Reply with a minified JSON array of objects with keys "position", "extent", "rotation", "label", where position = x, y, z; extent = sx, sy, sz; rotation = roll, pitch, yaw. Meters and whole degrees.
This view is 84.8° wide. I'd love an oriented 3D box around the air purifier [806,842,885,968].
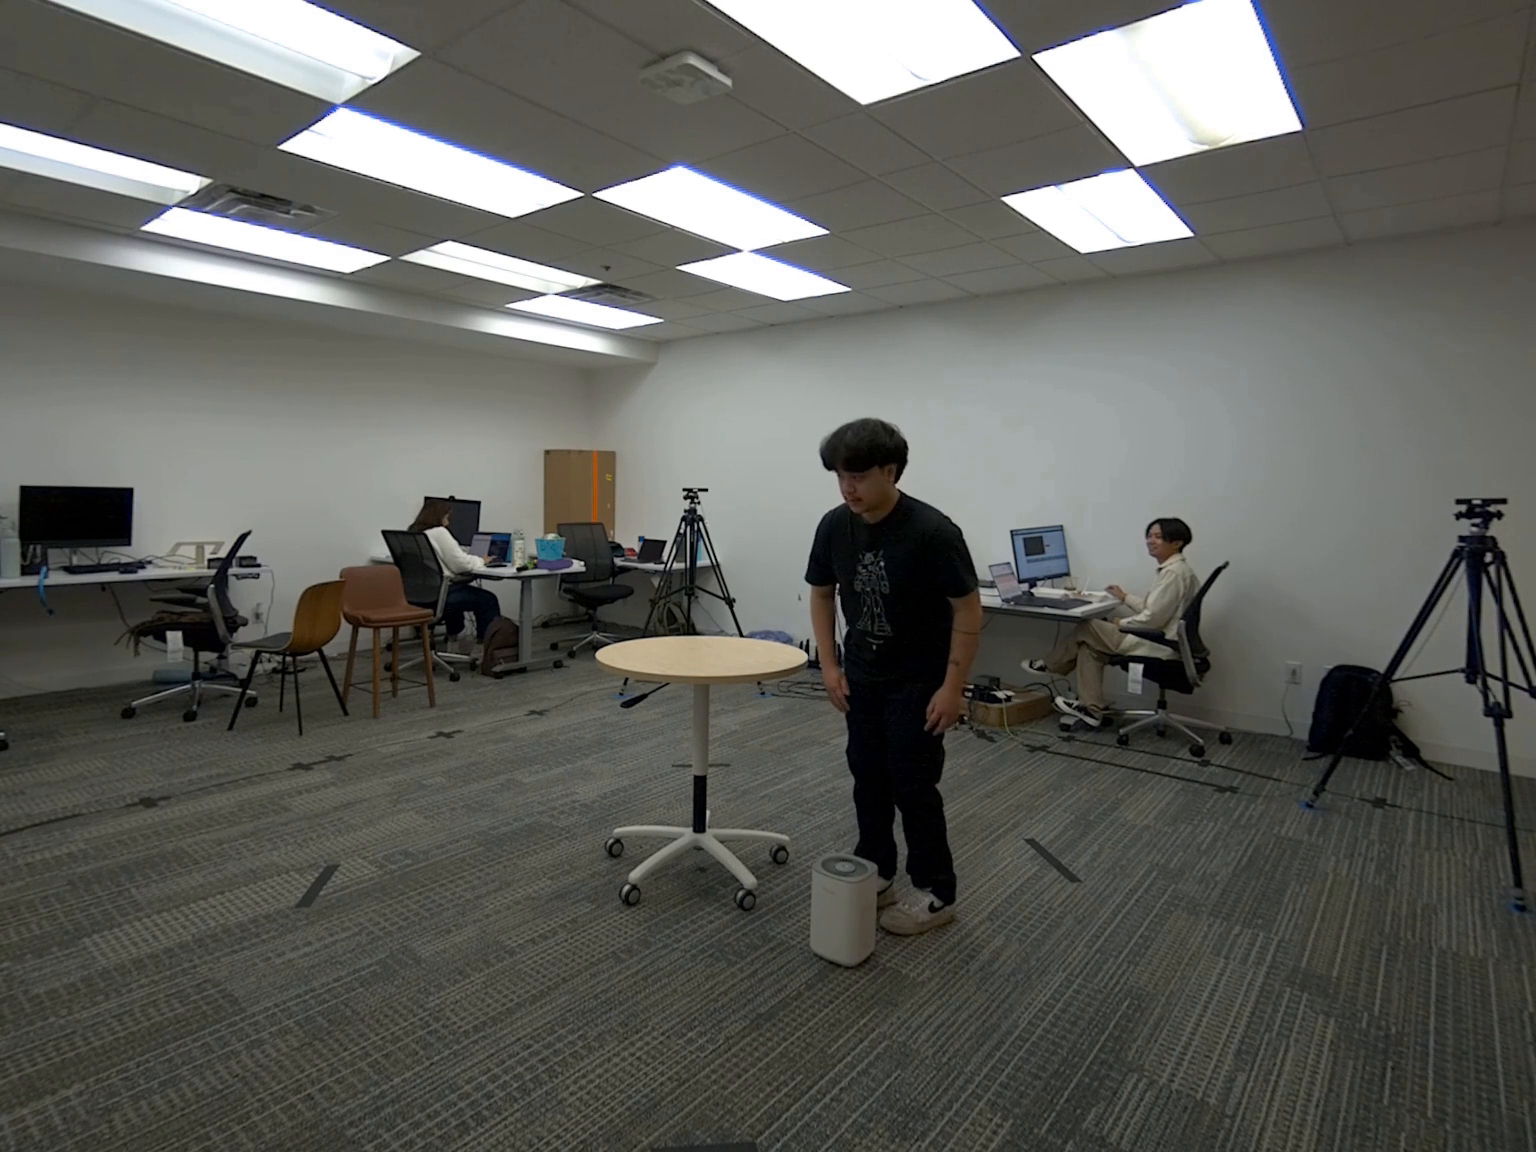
[{"position":[0.240,0.992,2.560],"extent":[0.177,0.264,0.166],"rotation":[5,5,35],"label":"air purifier"}]
